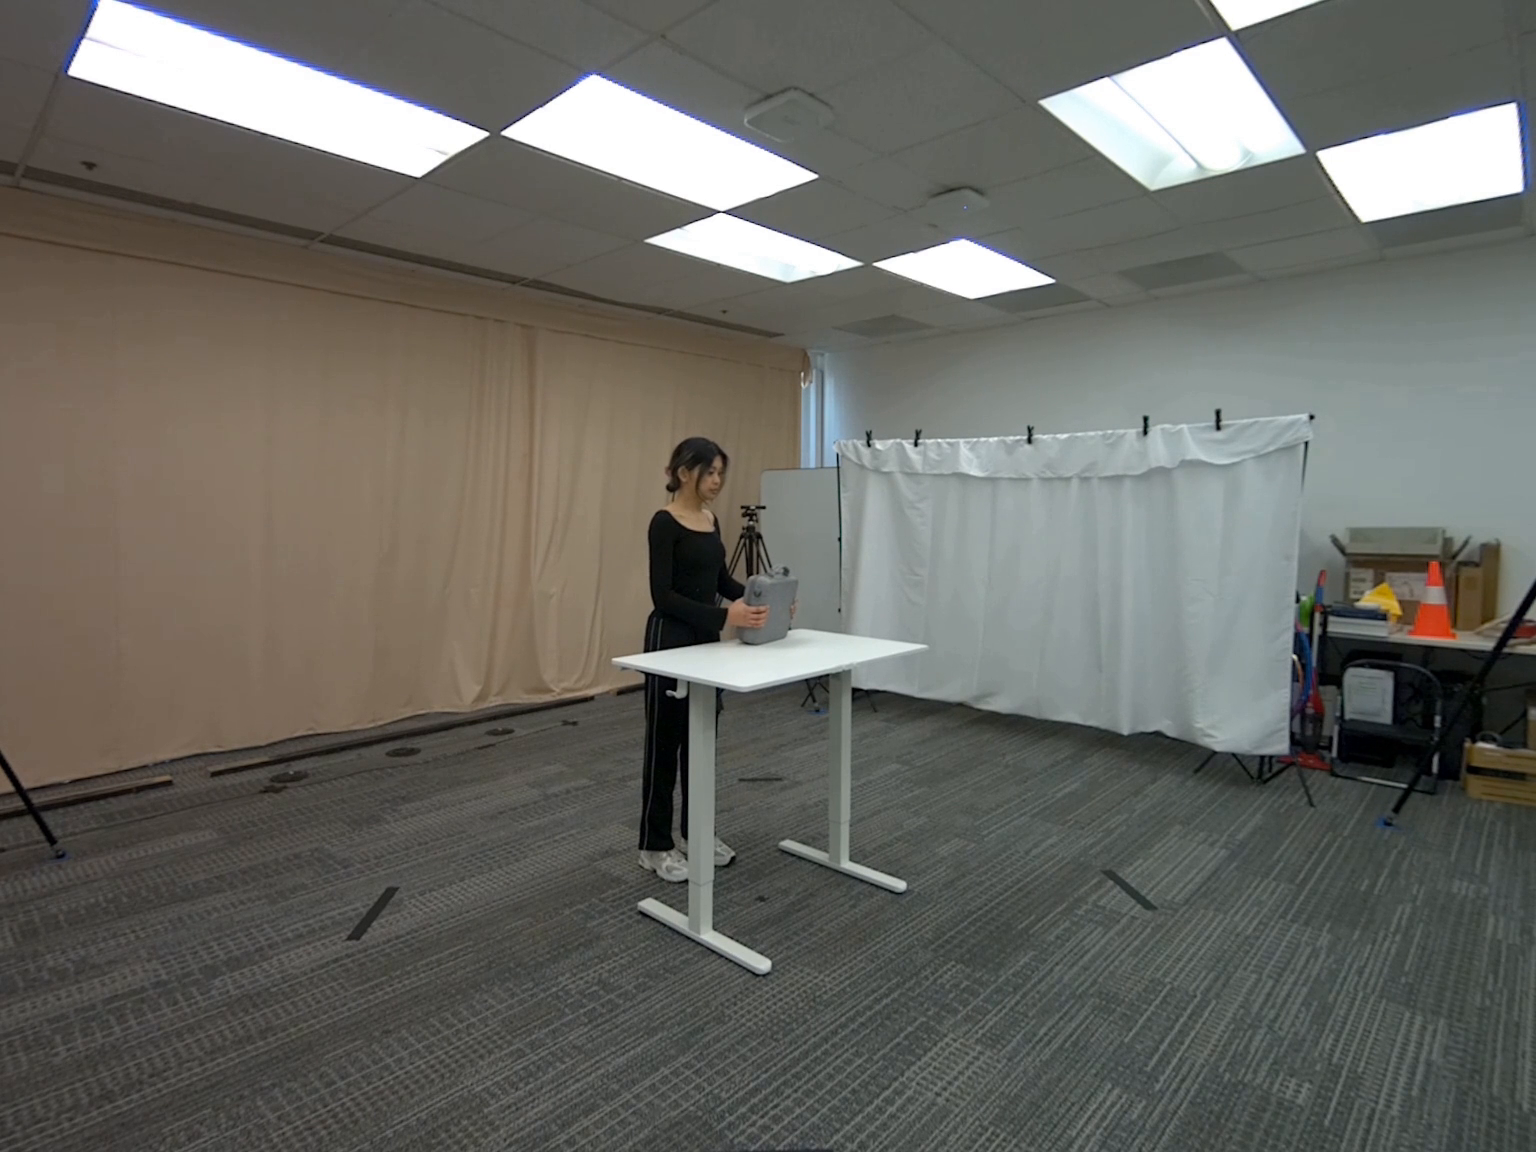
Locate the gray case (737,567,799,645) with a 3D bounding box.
[{"bbox_3d":[0.005,0.119,3.145,0.108,0.259,0.250,18,12,29],"label":"gray case"}]
